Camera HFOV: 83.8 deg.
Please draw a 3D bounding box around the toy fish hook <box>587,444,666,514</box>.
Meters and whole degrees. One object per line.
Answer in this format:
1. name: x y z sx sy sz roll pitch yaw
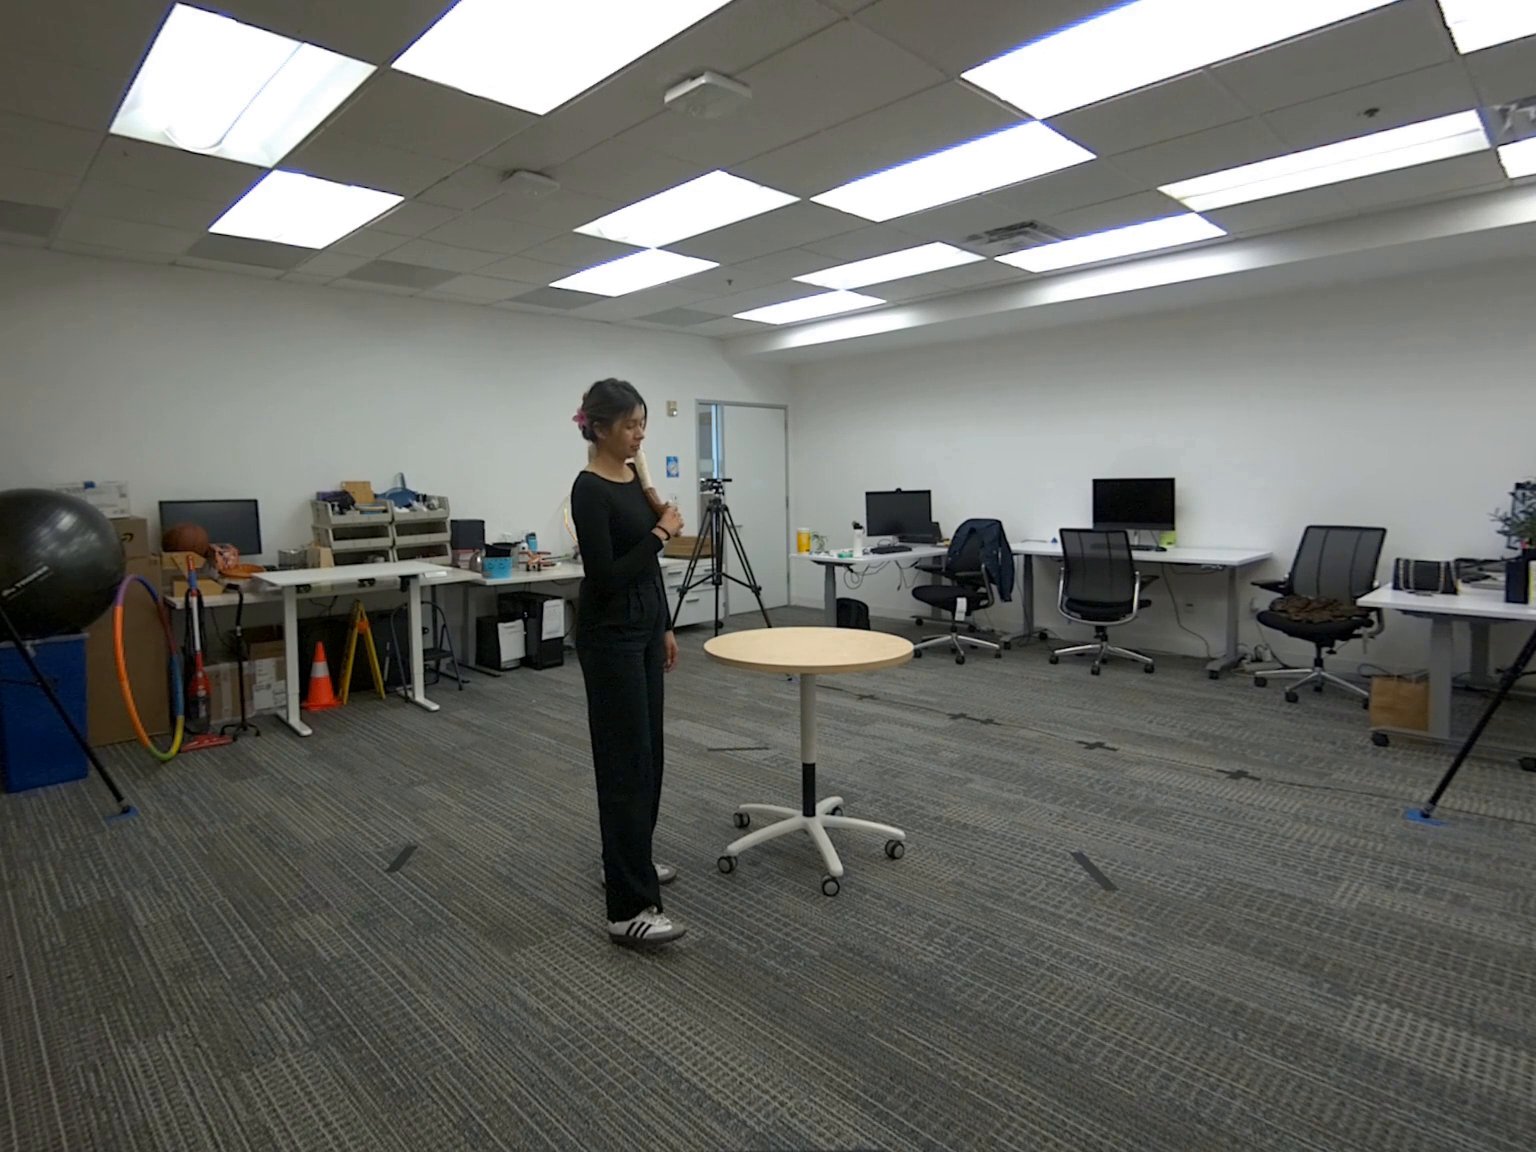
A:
1. toy fish hook: -0.457 -0.294 2.886 0.225 0.520 0.047 -39 -24 22
